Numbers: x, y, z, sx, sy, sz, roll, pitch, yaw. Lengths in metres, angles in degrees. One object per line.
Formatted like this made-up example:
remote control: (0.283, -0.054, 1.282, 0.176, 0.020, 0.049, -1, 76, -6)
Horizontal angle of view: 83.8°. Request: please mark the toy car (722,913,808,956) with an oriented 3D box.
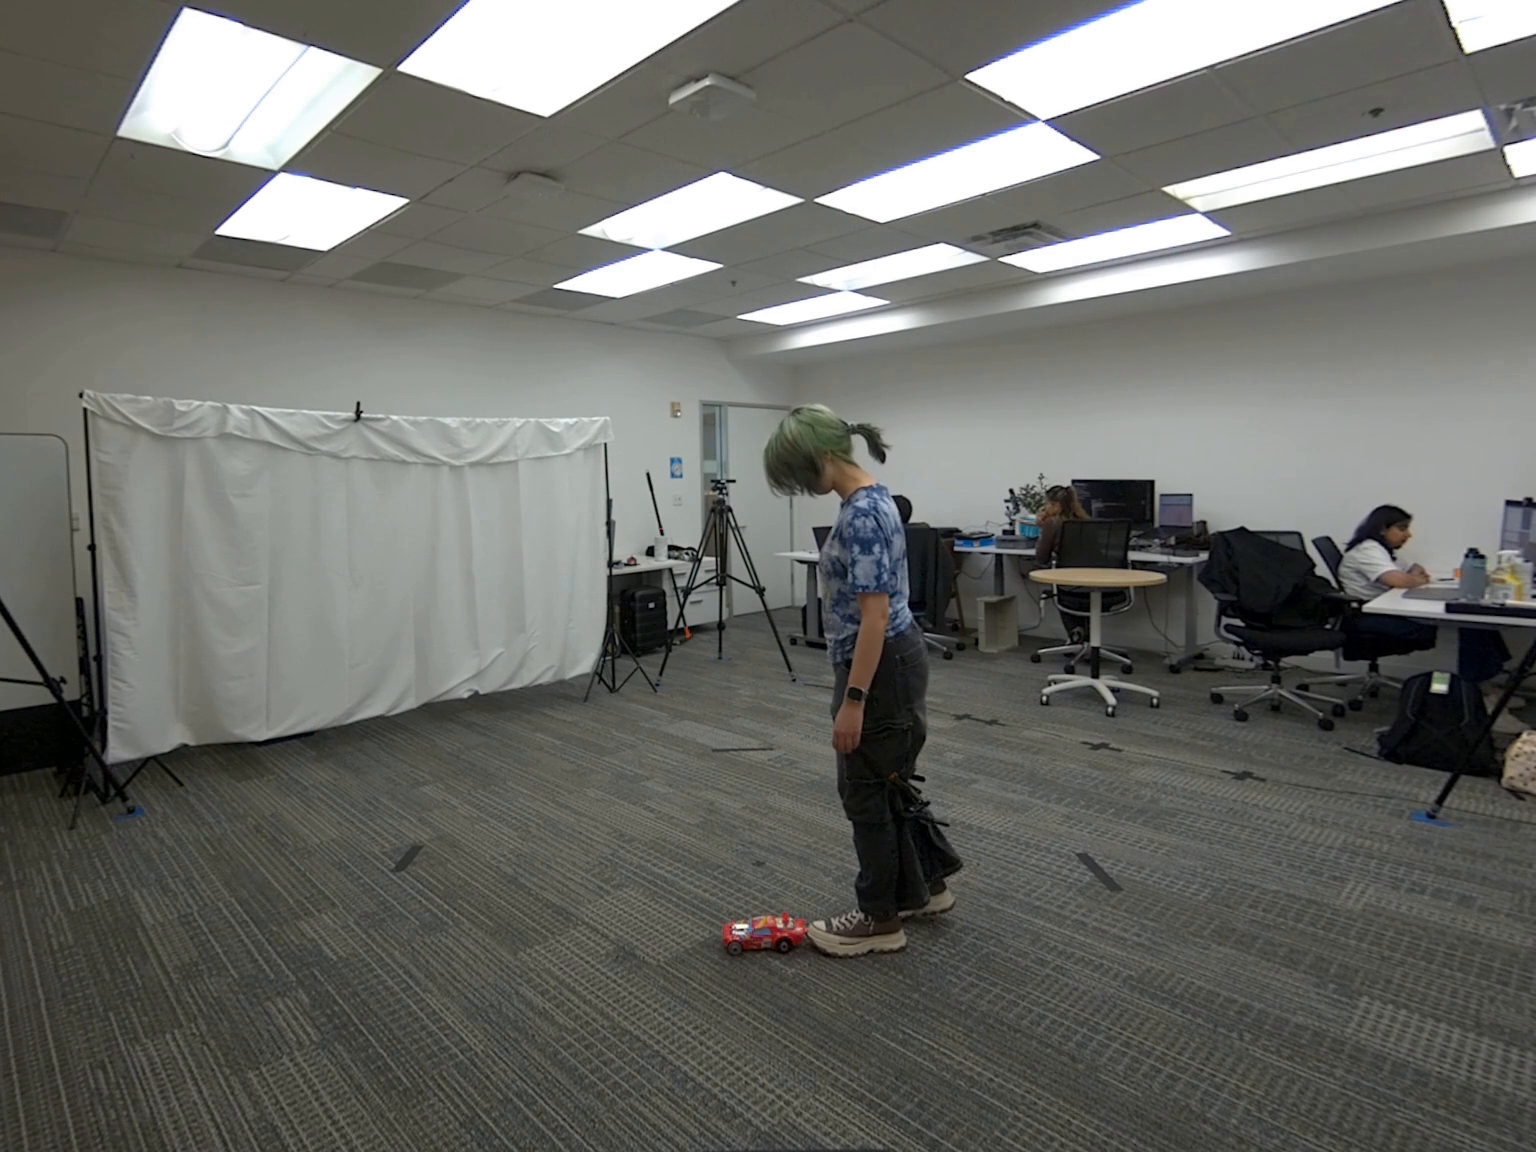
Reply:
toy car: (0.001, 1.080, 2.559, 0.254, 0.083, 0.131, -13, 5, 0)
